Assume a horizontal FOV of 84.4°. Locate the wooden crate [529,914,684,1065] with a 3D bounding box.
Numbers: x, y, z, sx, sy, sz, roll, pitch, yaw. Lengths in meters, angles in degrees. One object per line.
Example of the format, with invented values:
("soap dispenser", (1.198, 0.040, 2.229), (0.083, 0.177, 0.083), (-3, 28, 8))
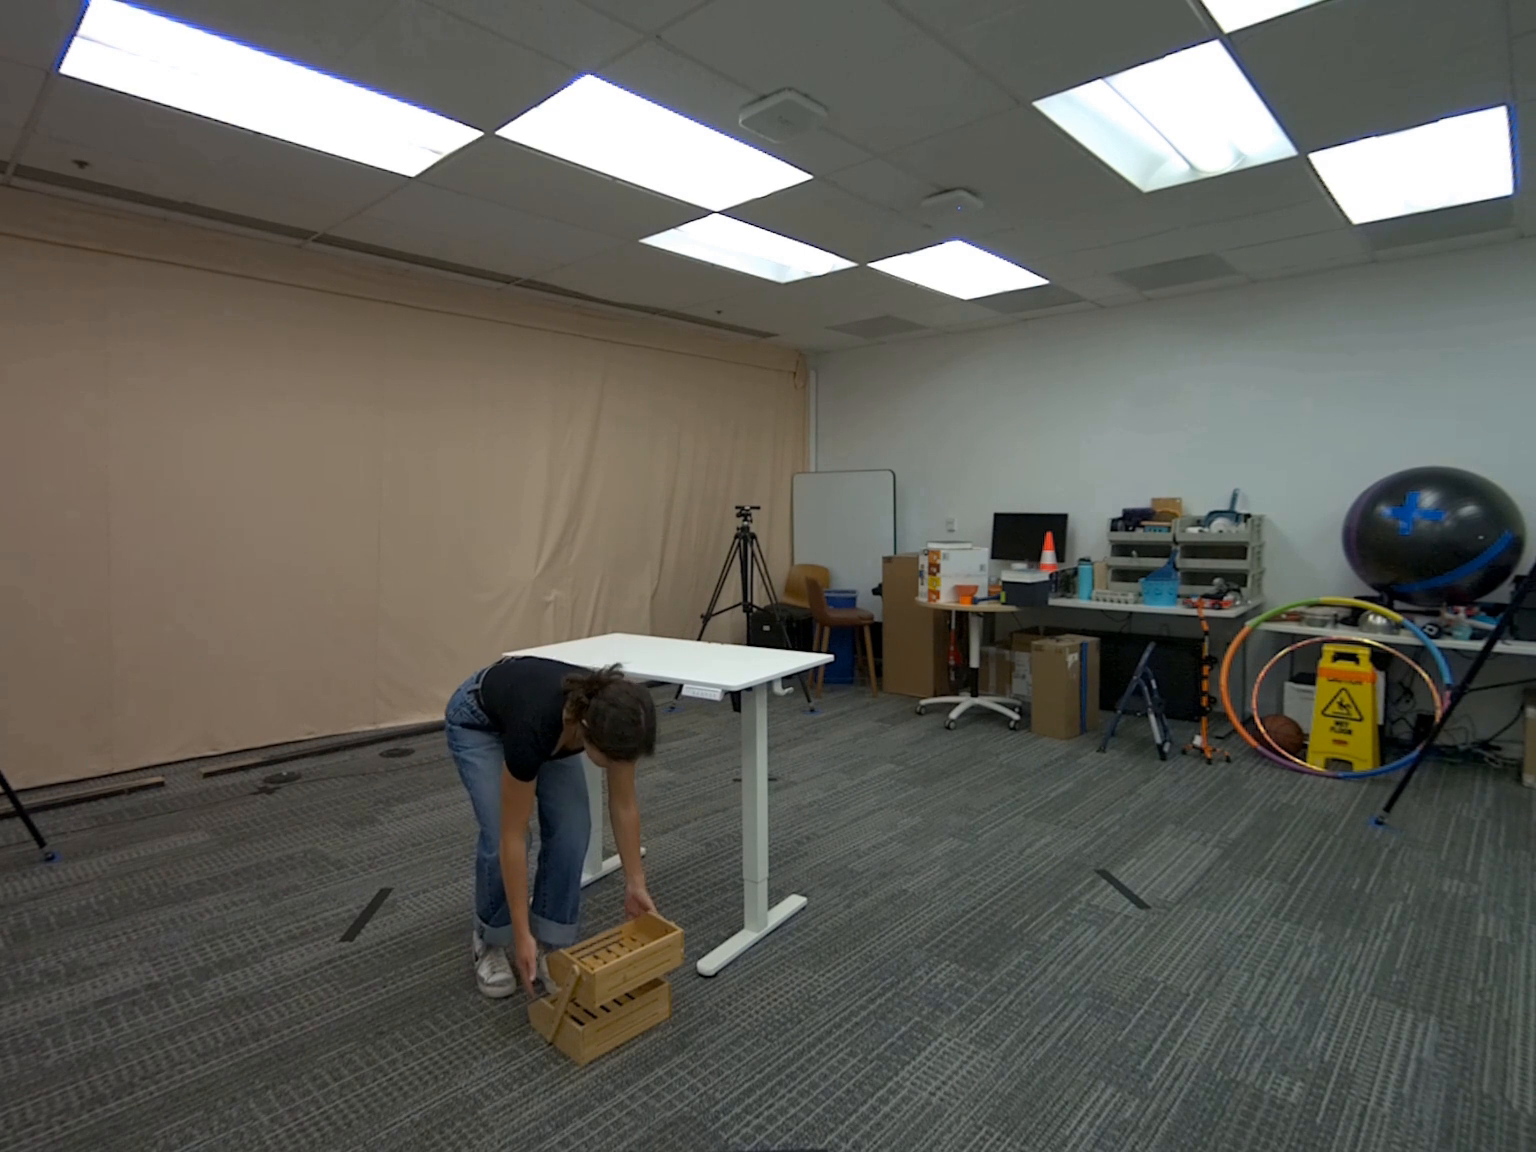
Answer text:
("wooden crate", (-0.437, 1.074, 2.257), (0.312, 0.273, 0.314), (4, 6, 45))
